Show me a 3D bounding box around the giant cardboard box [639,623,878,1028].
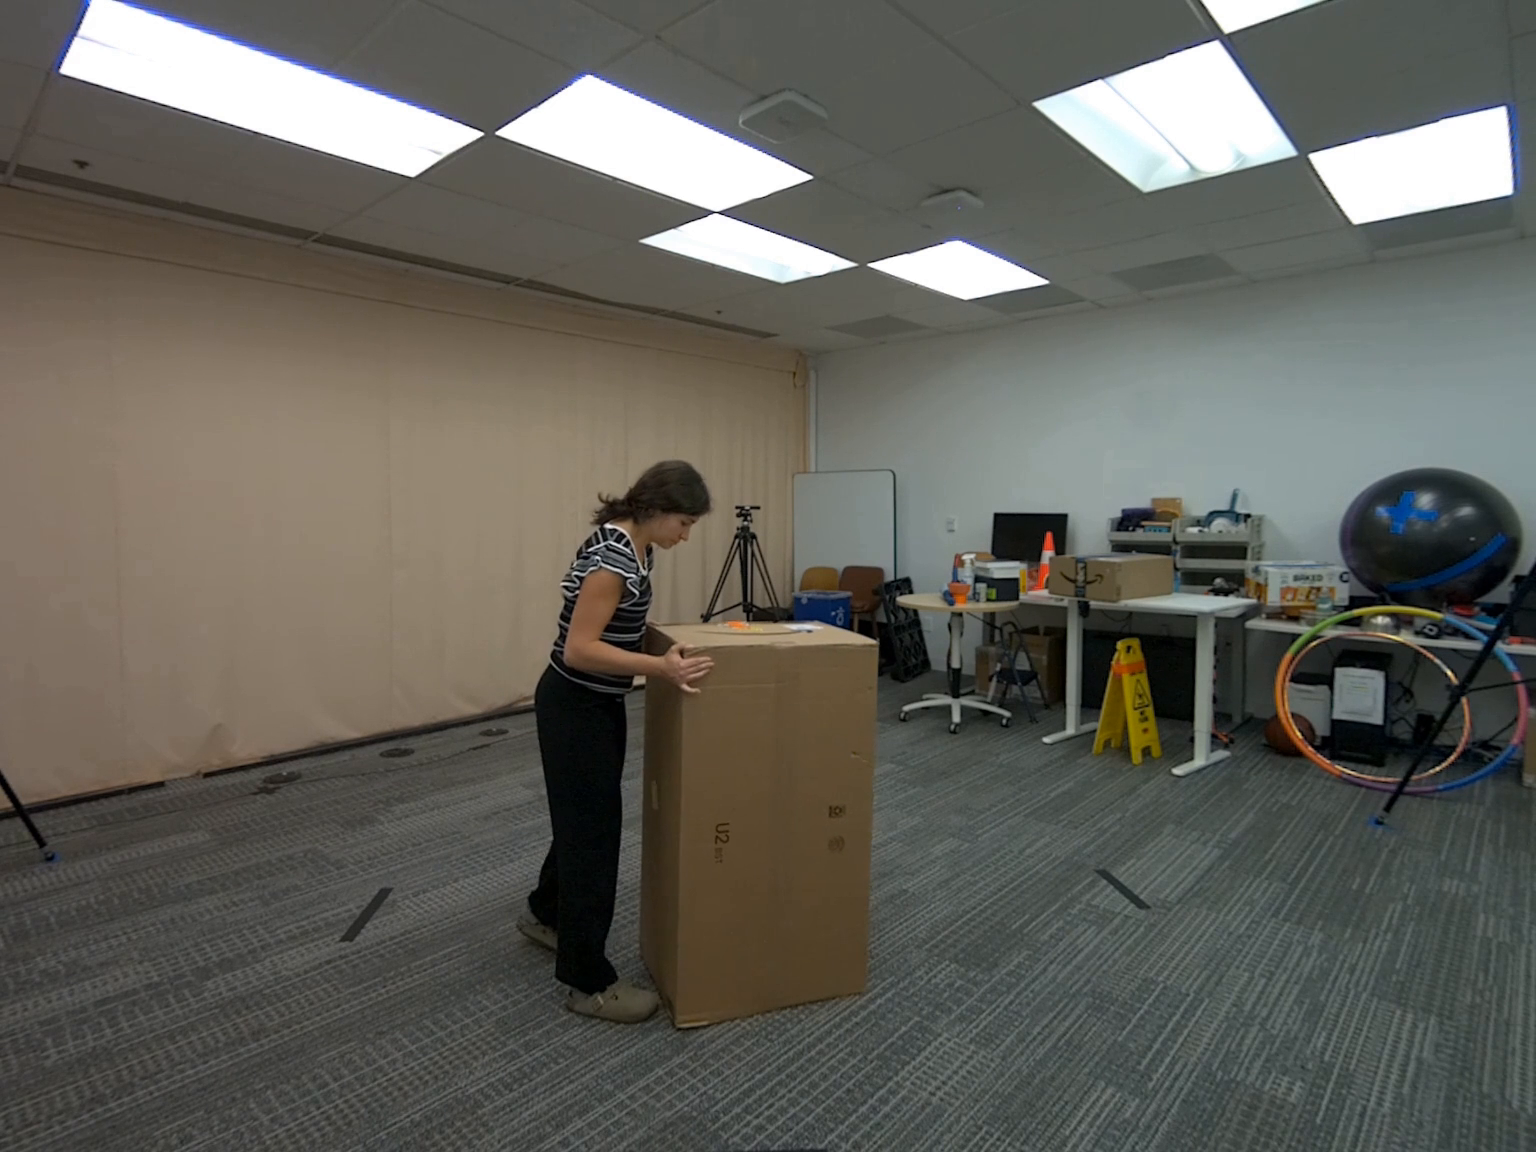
[{"bbox_3d":[-0.040,0.676,2.497,0.566,1.024,0.435,0,3,-19],"label":"giant cardboard box"}]
